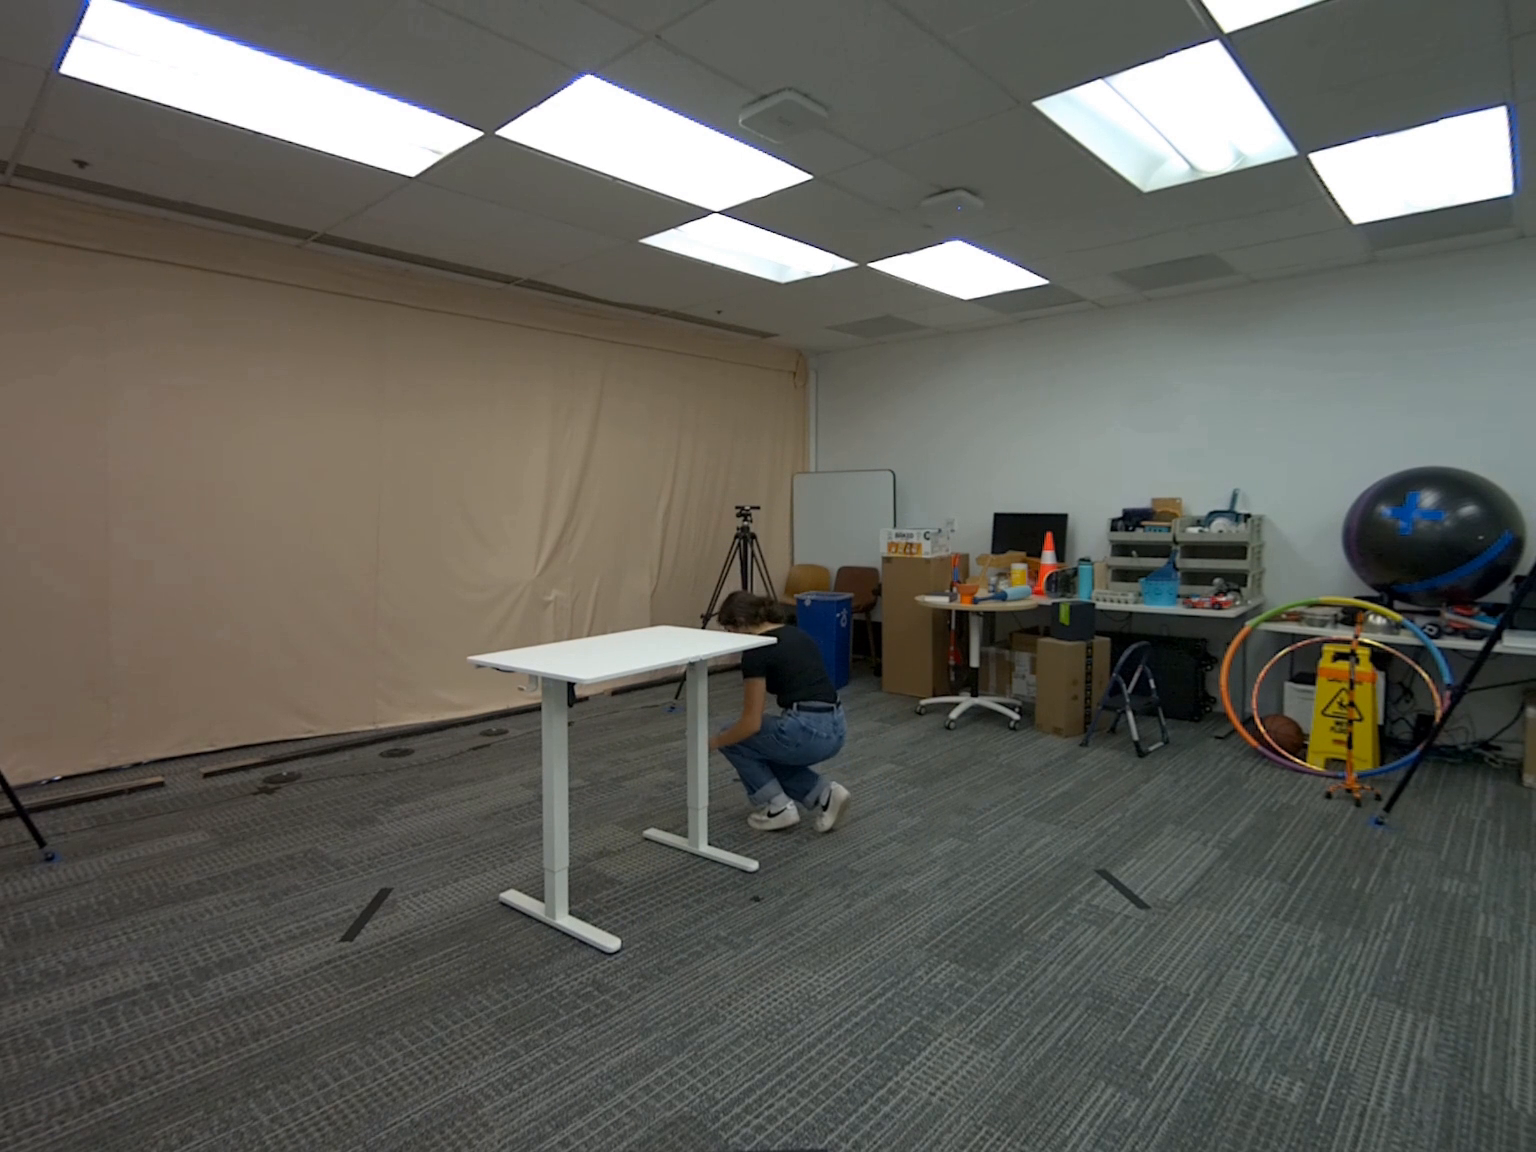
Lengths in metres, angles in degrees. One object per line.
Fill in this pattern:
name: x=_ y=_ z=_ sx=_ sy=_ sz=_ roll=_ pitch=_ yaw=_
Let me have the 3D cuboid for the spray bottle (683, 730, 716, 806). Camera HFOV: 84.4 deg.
spray bottle: x=-0.299 y=0.833 z=3.686 sx=0.092 sy=0.296 sz=0.085 roll=-2 pitch=4 yaw=23
